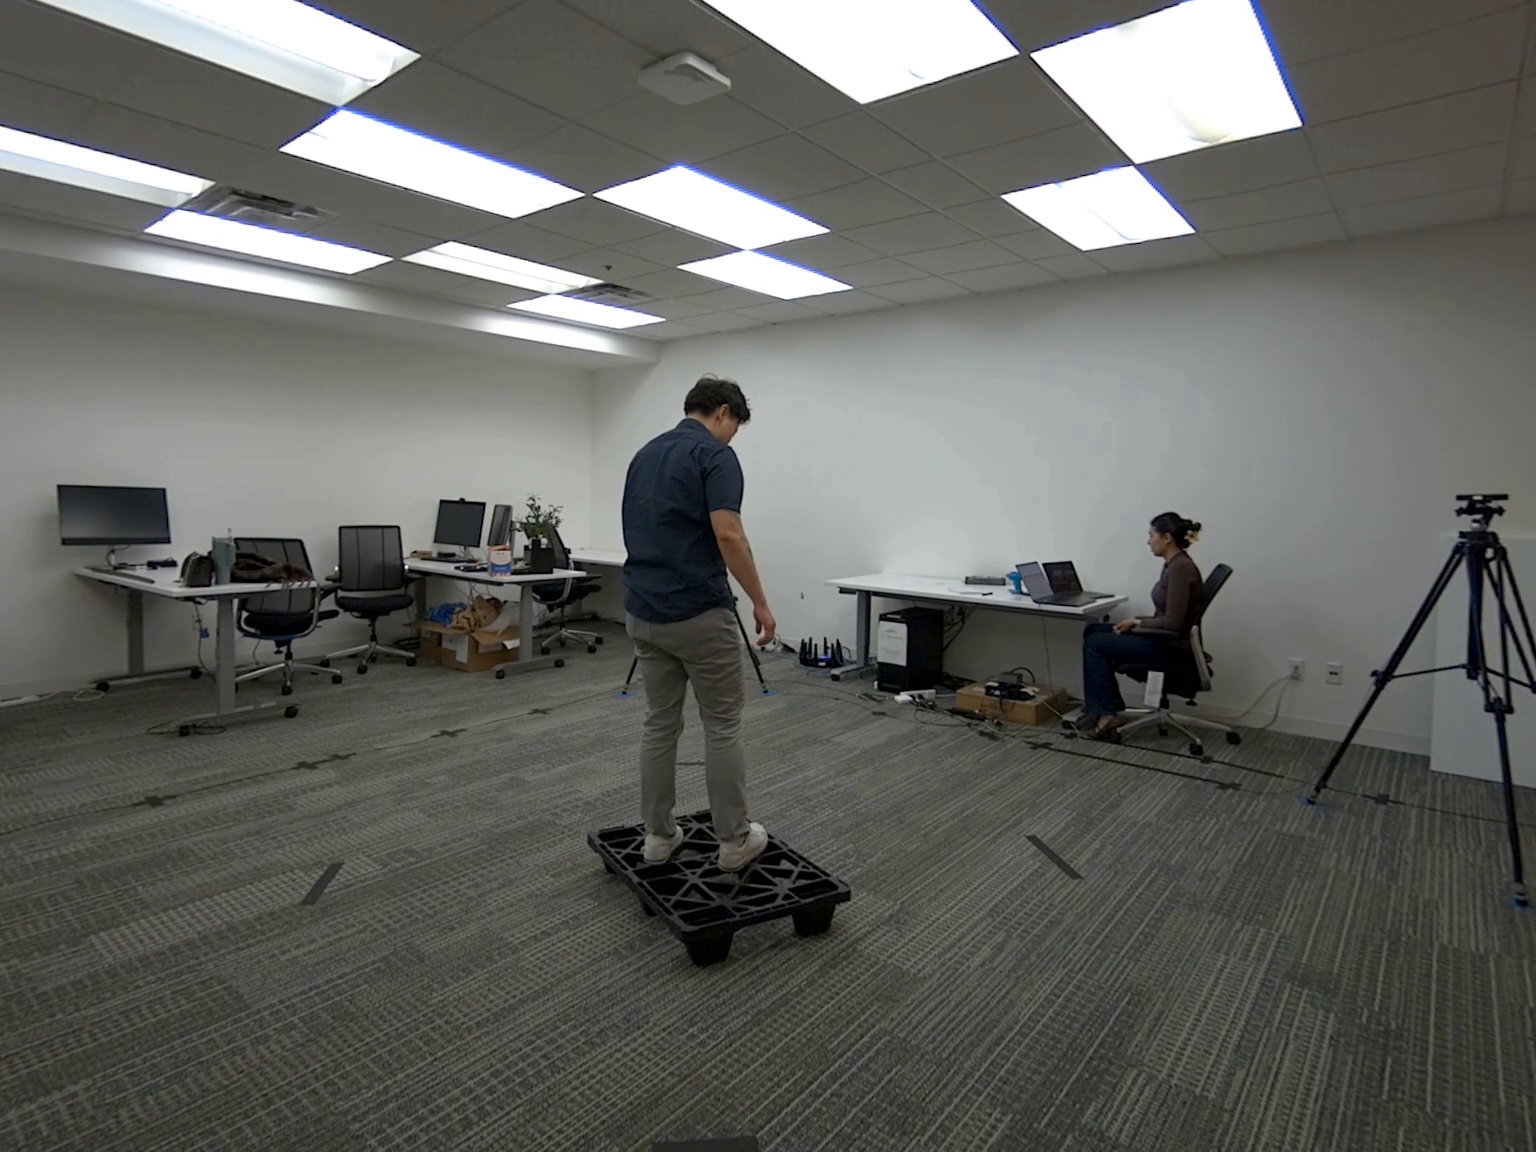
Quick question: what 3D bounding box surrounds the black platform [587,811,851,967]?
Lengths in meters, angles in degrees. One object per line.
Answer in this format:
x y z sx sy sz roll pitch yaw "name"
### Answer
-0.206 1.020 2.877 0.589 0.143 0.830 -3 6 -30 "black platform"
